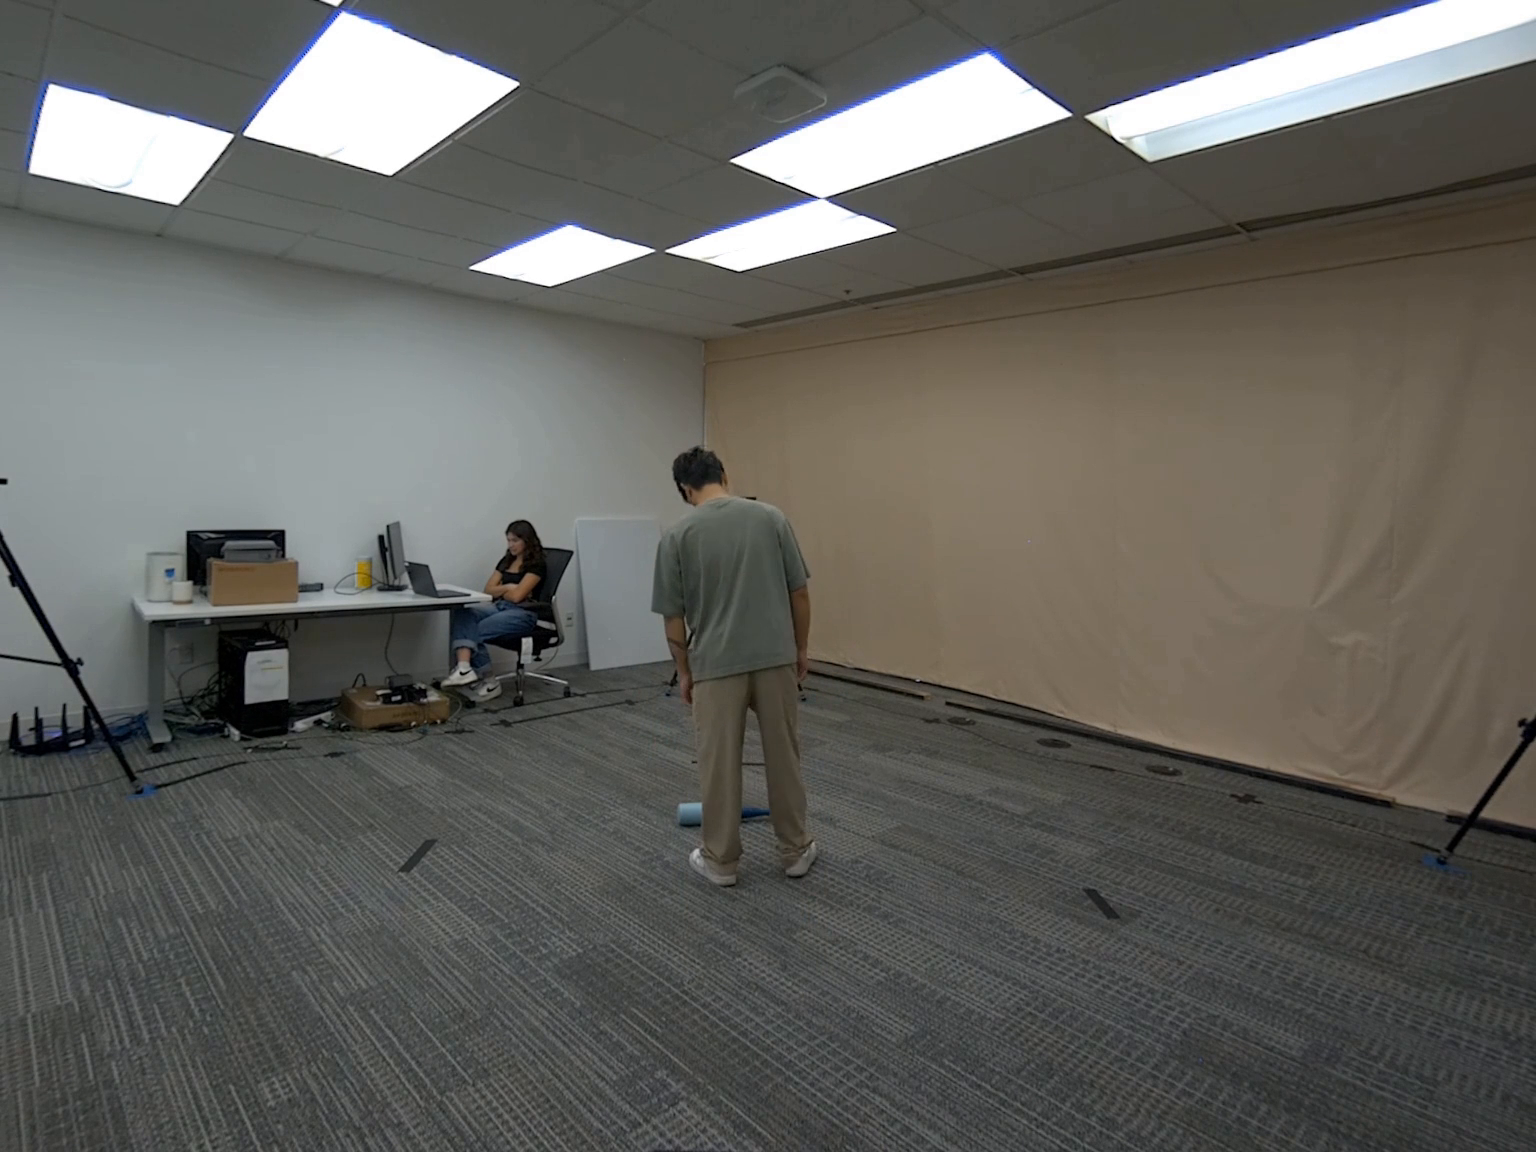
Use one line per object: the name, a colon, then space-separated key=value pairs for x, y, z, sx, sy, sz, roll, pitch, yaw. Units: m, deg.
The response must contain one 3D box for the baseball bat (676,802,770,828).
baseball bat: x=-0.134 y=1.025 z=3.633 sx=0.537 sy=0.089 sz=0.090 roll=2 pitch=4 yaw=-12
